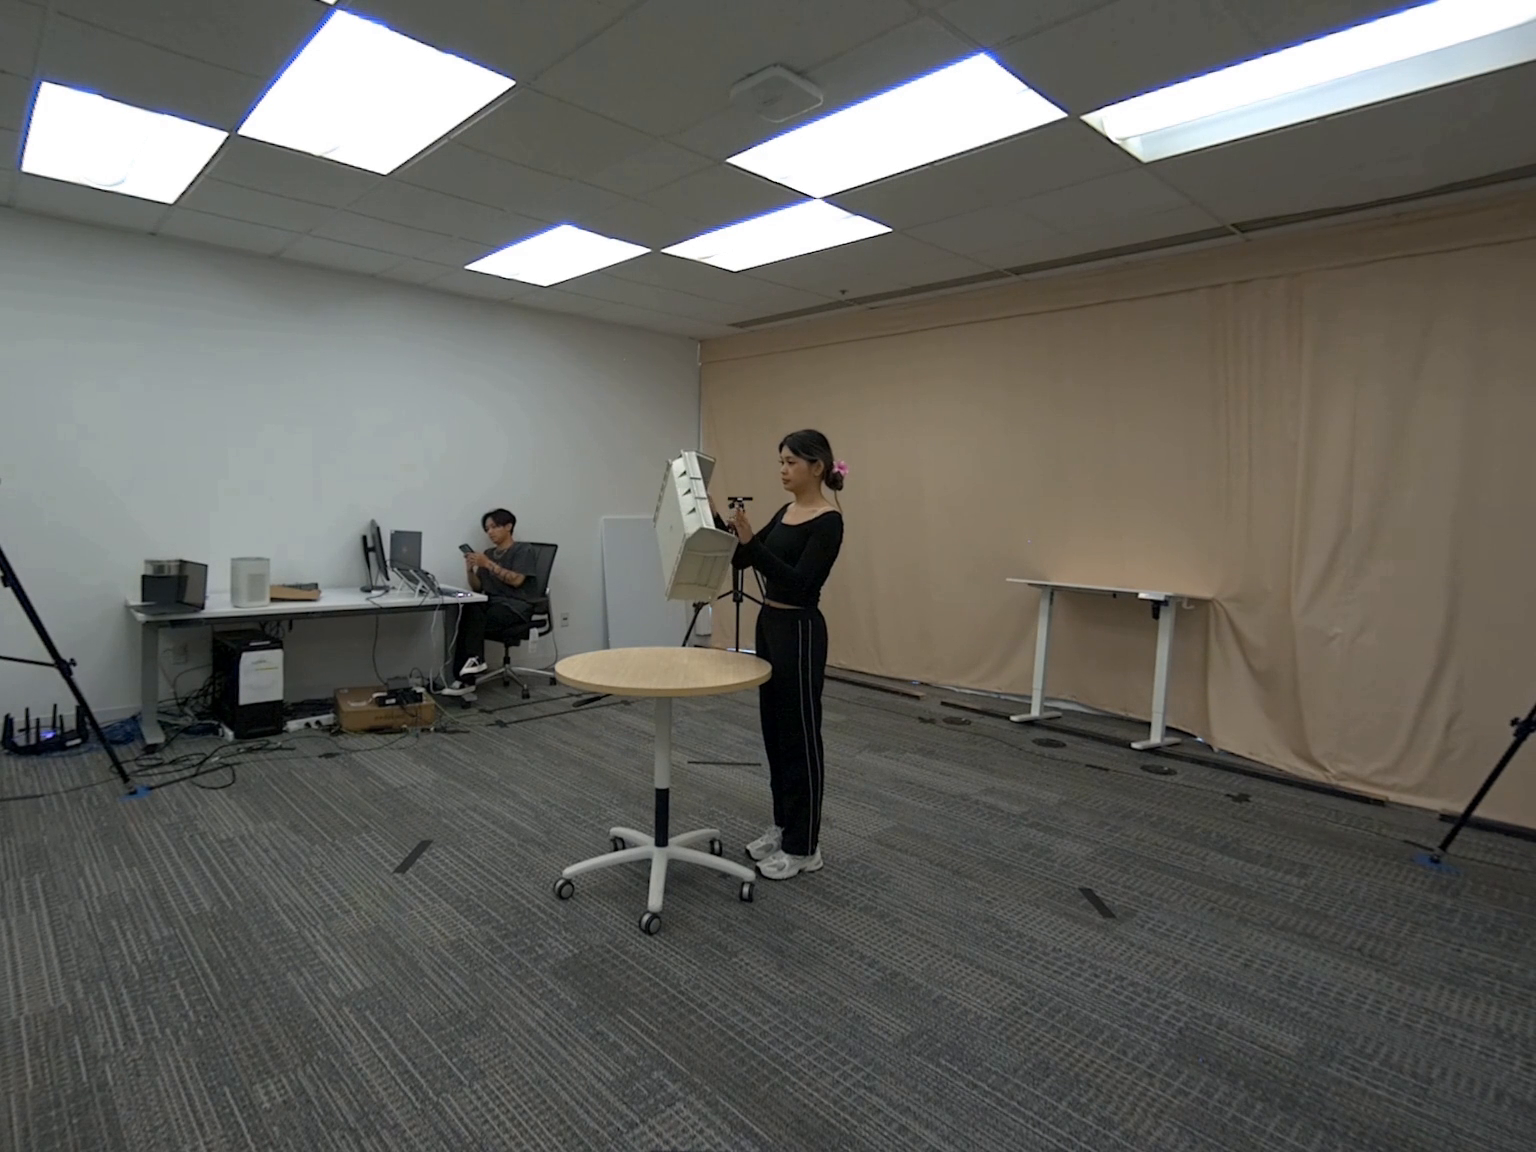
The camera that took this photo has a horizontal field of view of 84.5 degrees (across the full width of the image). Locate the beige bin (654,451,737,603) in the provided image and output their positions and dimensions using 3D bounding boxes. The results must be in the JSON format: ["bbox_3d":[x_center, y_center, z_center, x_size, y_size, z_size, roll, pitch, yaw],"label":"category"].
[{"bbox_3d":[-0.269,-0.172,3.004,0.186,0.373,0.434,5,45,-22],"label":"beige bin"}]
